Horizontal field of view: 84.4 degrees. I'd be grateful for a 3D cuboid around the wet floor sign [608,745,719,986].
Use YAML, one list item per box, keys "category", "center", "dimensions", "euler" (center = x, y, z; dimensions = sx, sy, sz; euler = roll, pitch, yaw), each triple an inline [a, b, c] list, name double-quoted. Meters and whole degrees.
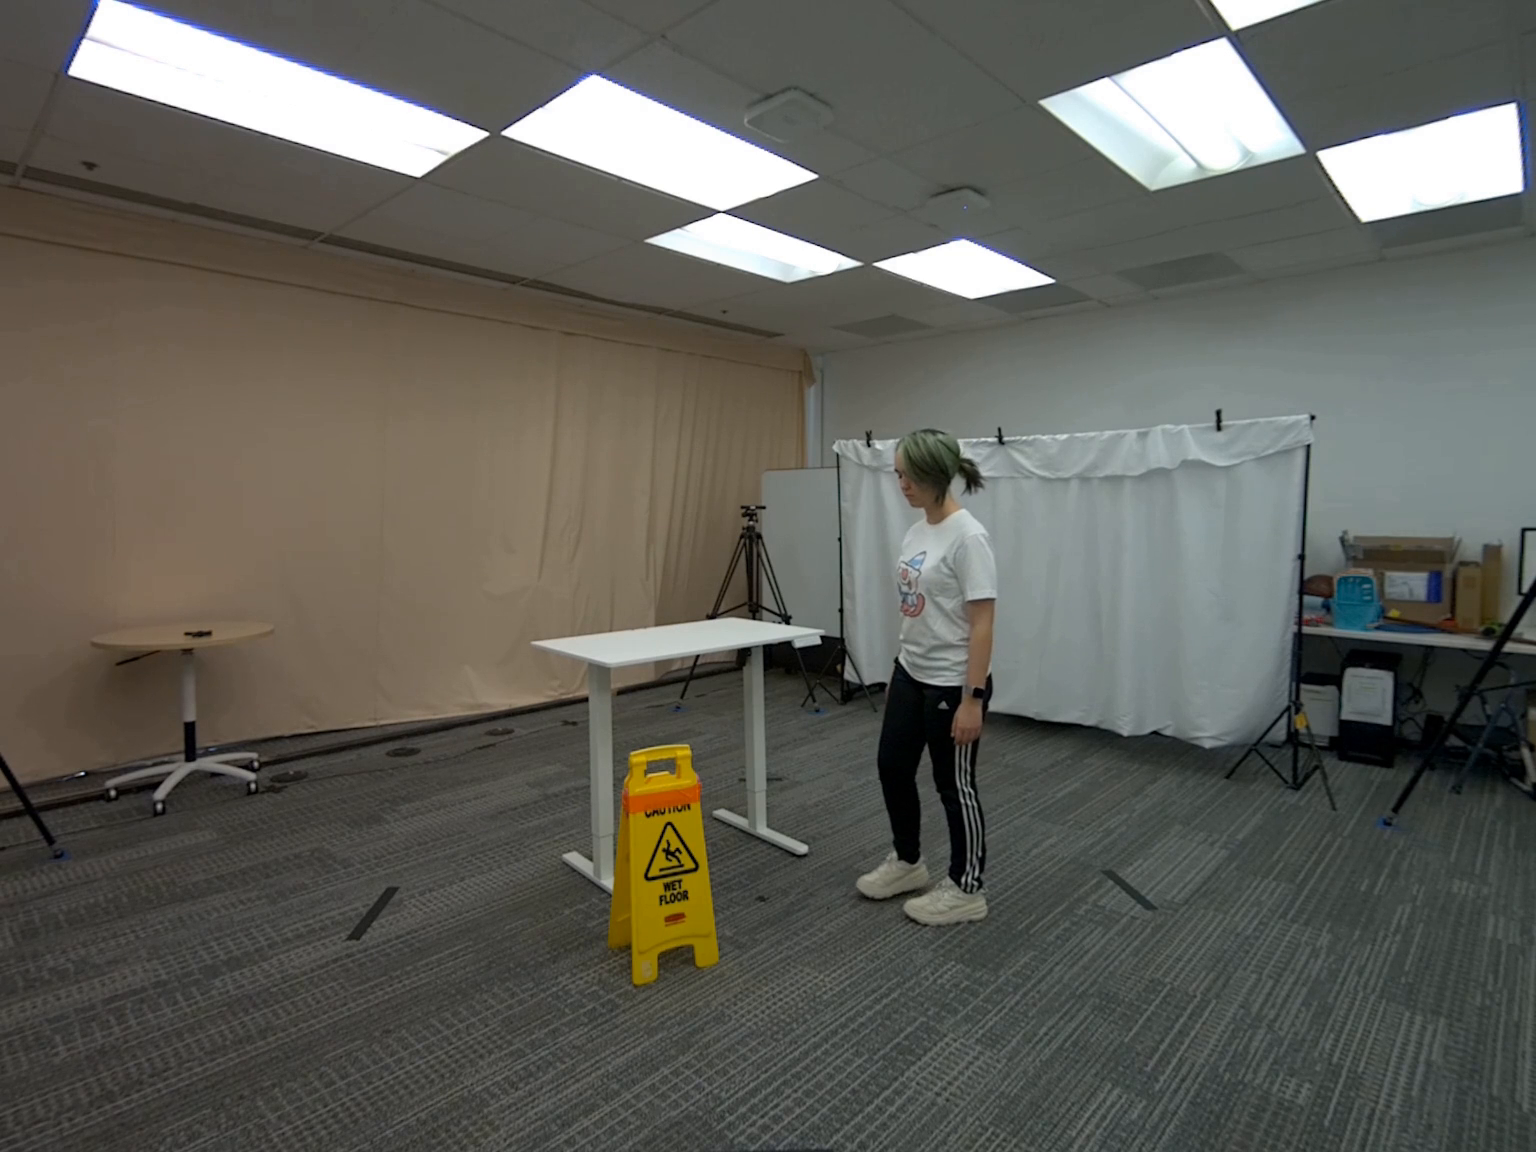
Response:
- category: "wet floor sign"
  center: [-0.331, 0.857, 2.594]
  dimensions: [0.275, 0.644, 0.298]
  euler: [-3, 4, -27]
